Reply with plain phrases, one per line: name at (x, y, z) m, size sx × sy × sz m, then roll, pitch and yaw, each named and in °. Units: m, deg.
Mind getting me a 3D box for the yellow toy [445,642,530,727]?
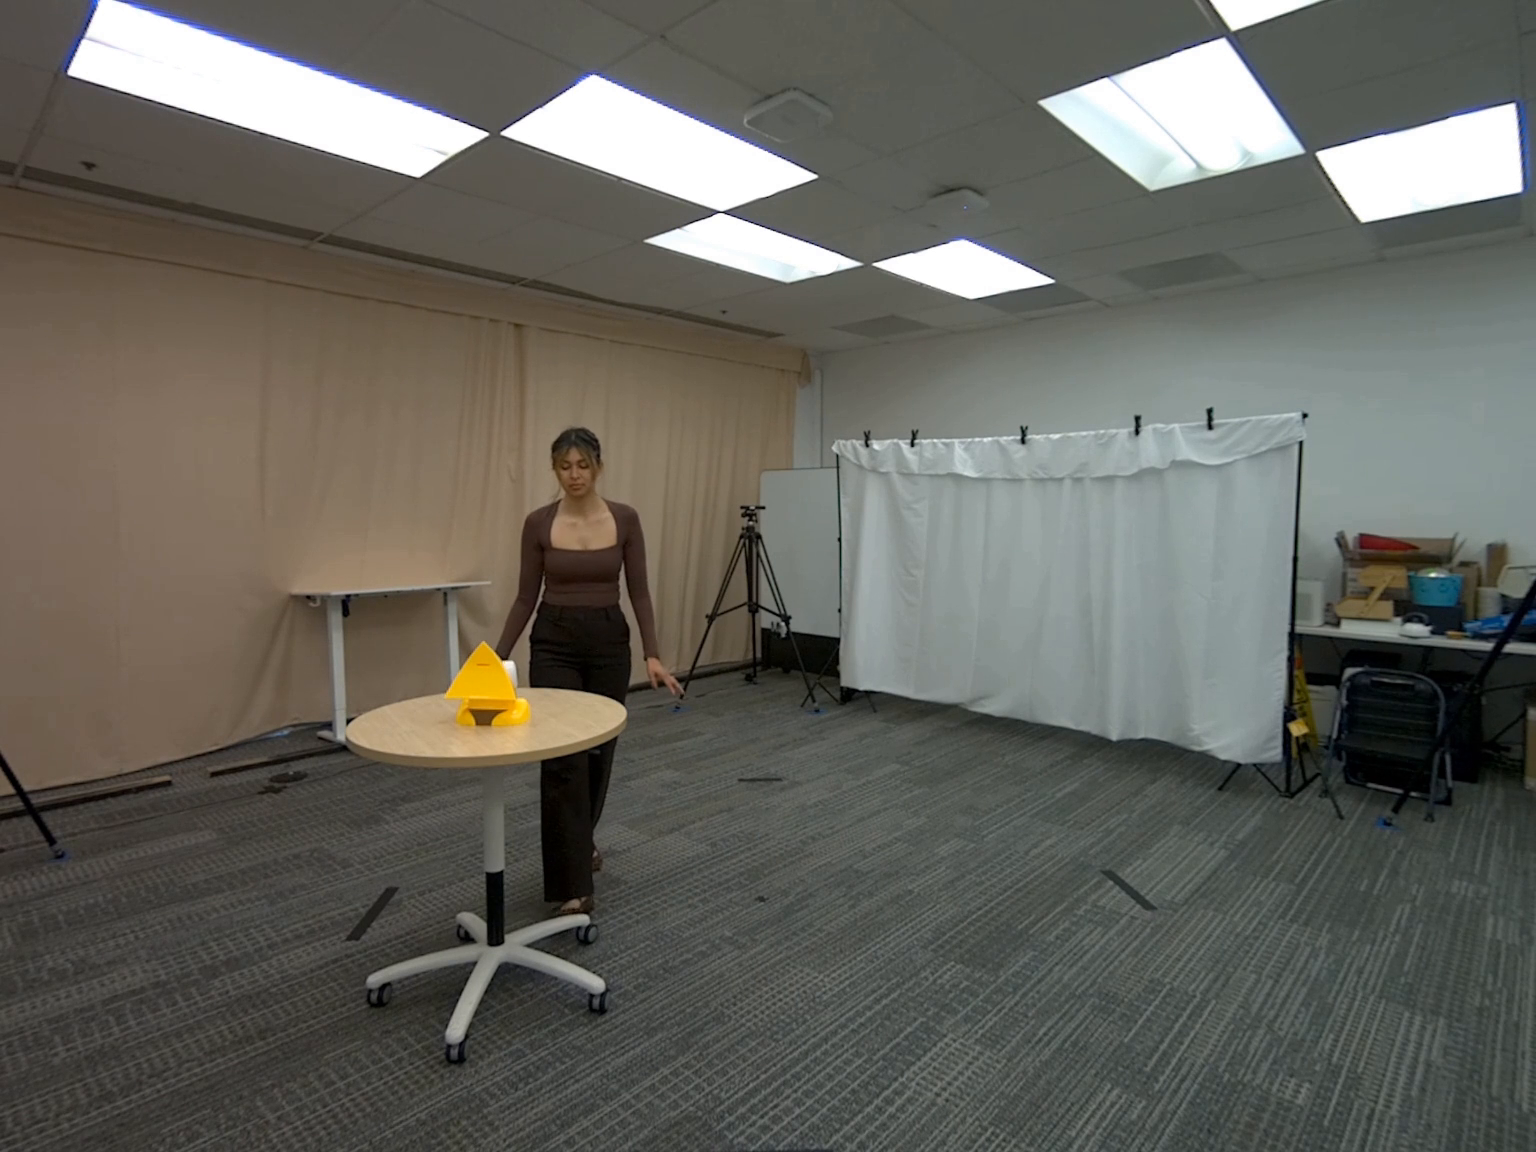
yellow toy at (-0.776, 0.289, 2.365) m, size 0.206 × 0.230 × 0.192 m, roll 0°, pitch 3°, yaw 3°
